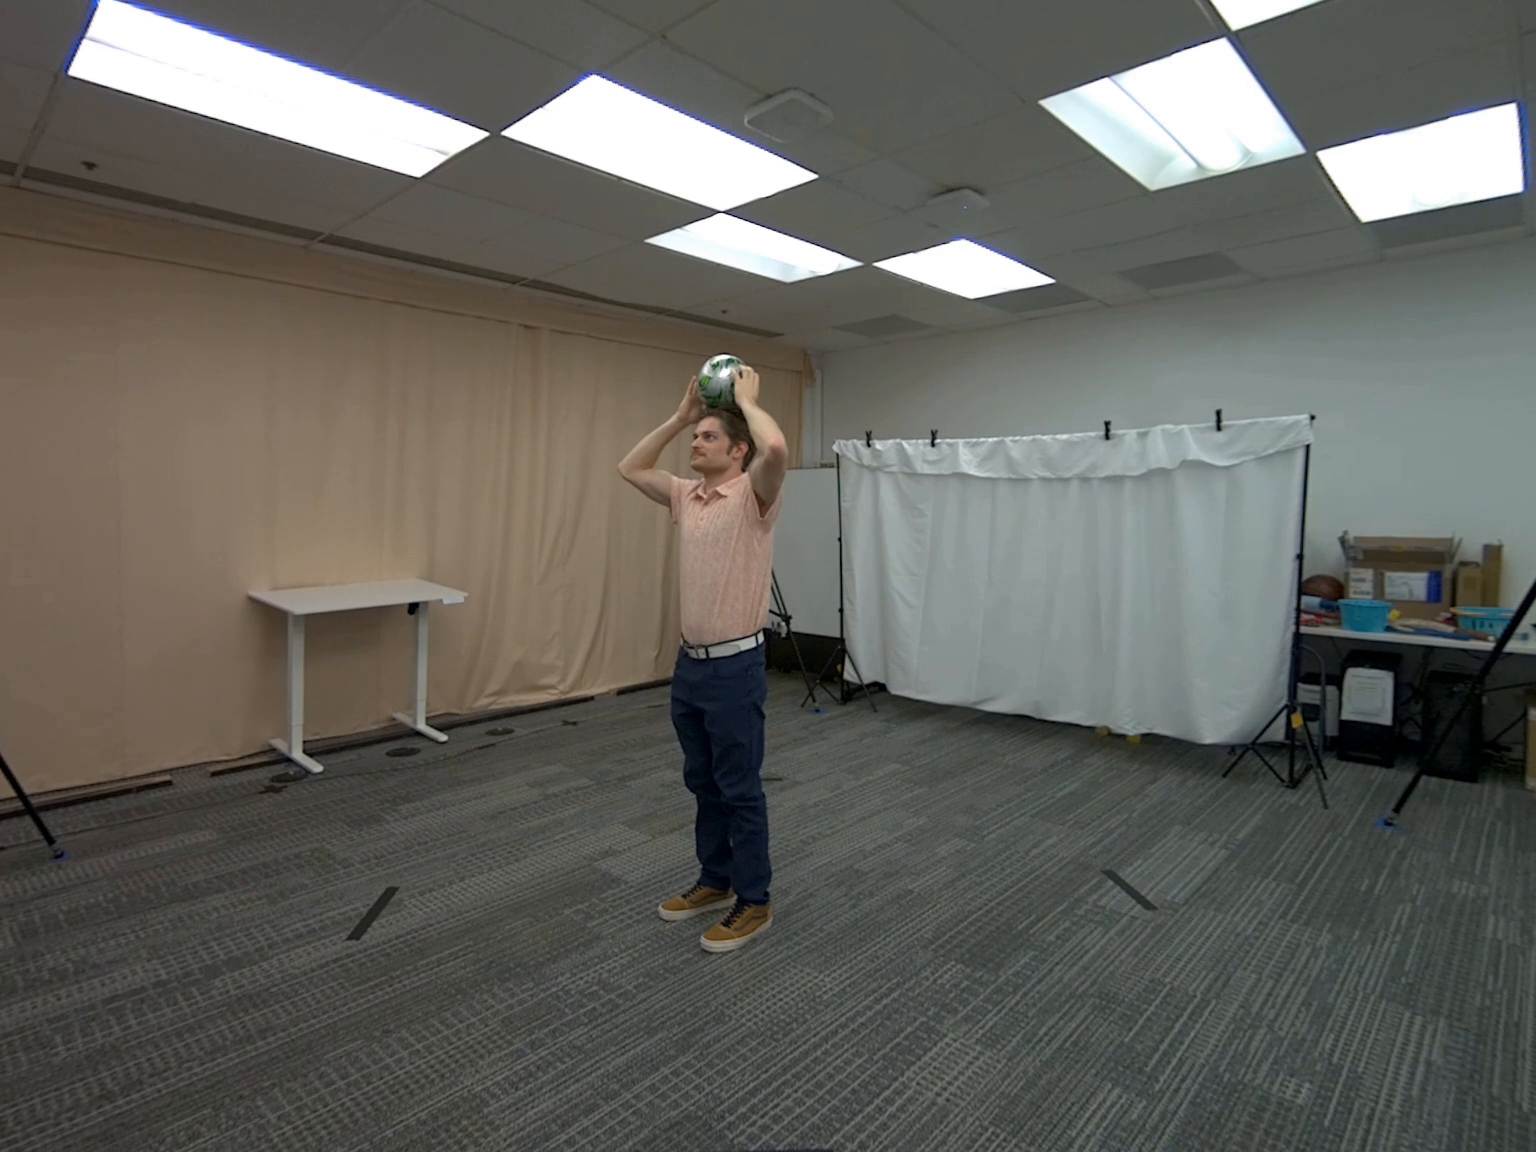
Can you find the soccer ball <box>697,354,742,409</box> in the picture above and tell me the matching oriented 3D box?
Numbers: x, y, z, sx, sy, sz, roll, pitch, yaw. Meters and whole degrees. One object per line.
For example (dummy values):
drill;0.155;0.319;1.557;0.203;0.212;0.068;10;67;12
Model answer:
soccer ball;-0.141;-0.633;2.773;0.187;0.187;0.188;0;4;-2
